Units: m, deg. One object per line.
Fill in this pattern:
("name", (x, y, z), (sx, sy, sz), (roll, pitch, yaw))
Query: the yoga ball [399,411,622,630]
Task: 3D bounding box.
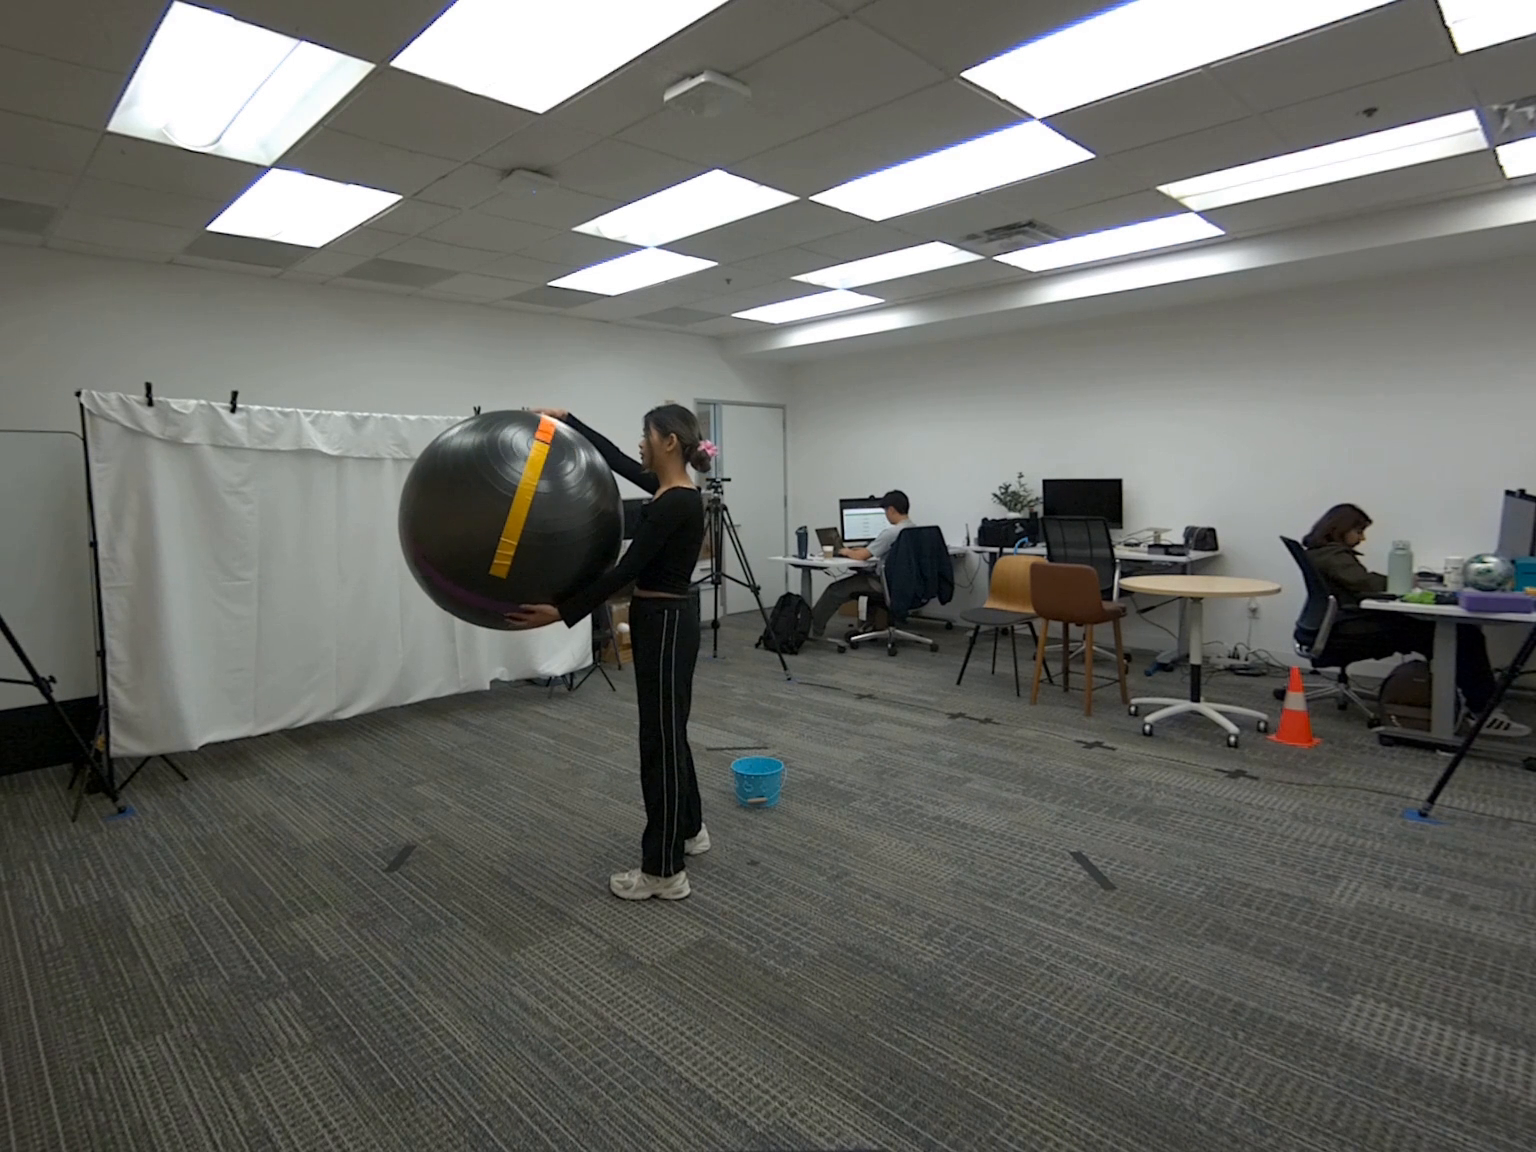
("yoga ball", (-0.881, -0.190, 2.949), (0.757, 0.755, 0.762), (-1, 5, -2))
